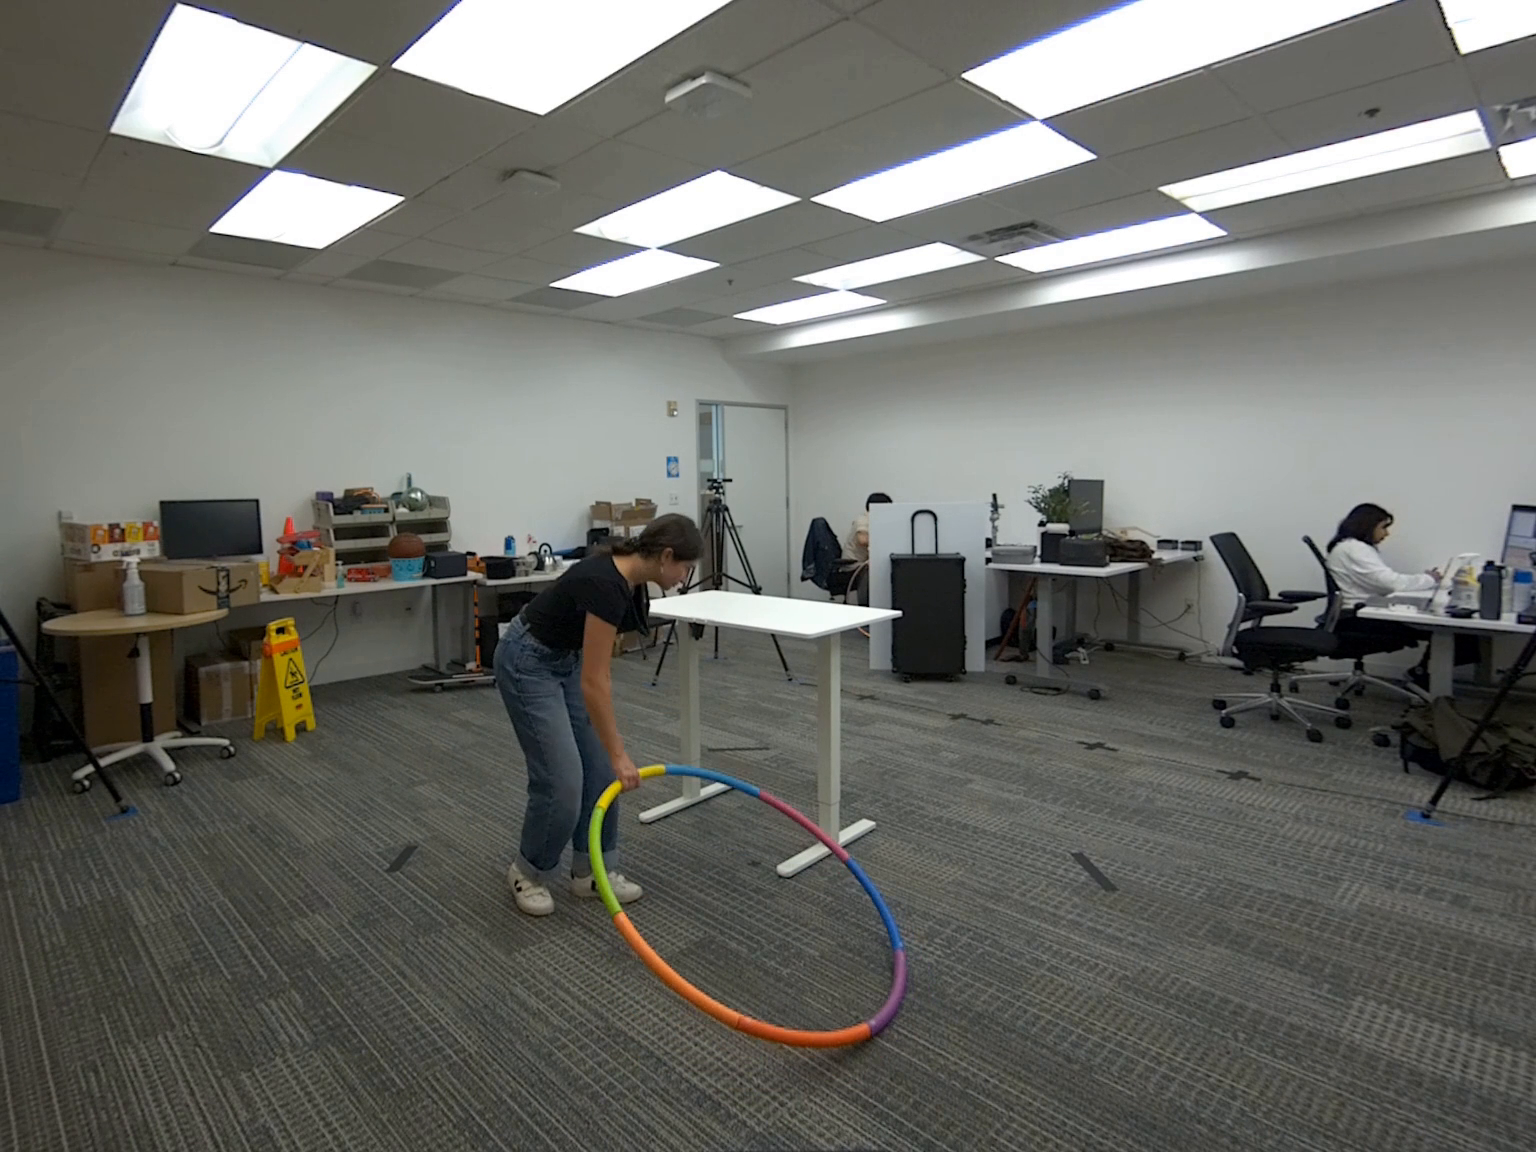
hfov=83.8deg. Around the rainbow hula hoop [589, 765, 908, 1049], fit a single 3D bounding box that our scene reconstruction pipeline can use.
[{"bbox_3d":[-0.043,0.877,2.433,0.968,0.035,0.996,23,17,-9],"label":"rainbow hula hoop"}]
